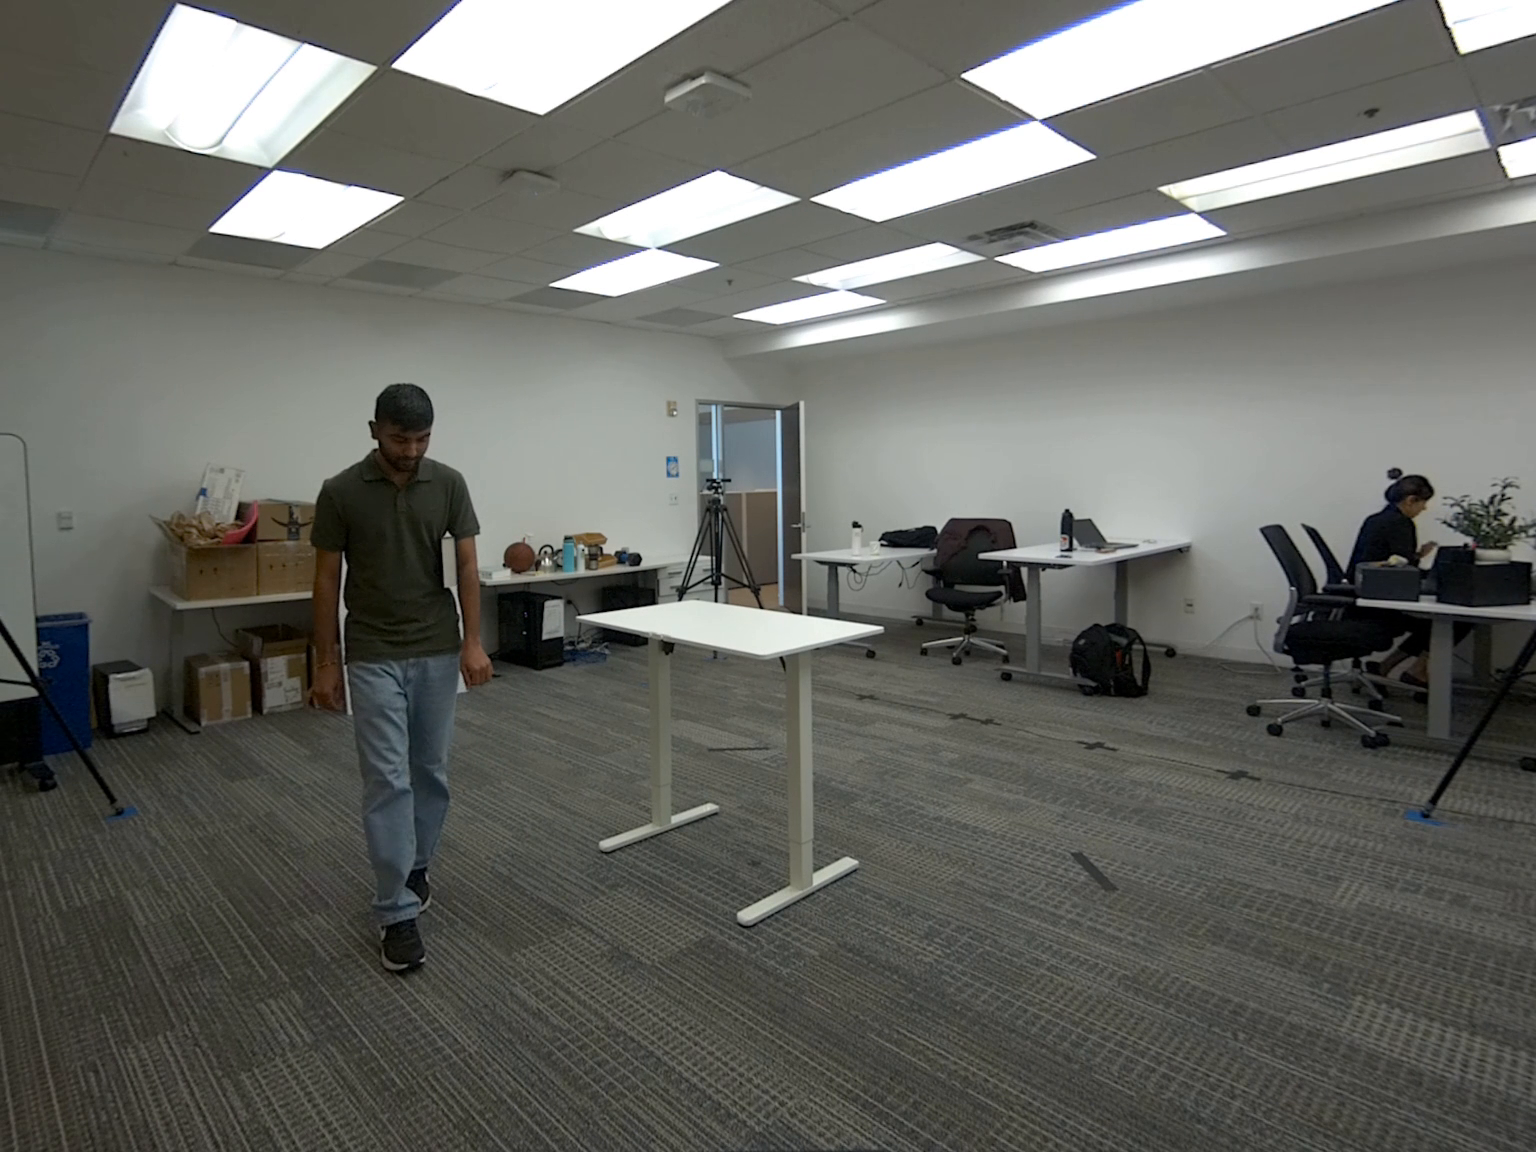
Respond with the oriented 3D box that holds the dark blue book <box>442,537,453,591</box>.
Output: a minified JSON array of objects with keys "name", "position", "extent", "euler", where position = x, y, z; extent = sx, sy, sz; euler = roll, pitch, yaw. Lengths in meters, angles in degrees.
[{"name":"dark blue book","position":[-1.066,-0.043,2.807],"extent":[0.044,0.163,0.250],"euler":[-1,3,-22]}]
